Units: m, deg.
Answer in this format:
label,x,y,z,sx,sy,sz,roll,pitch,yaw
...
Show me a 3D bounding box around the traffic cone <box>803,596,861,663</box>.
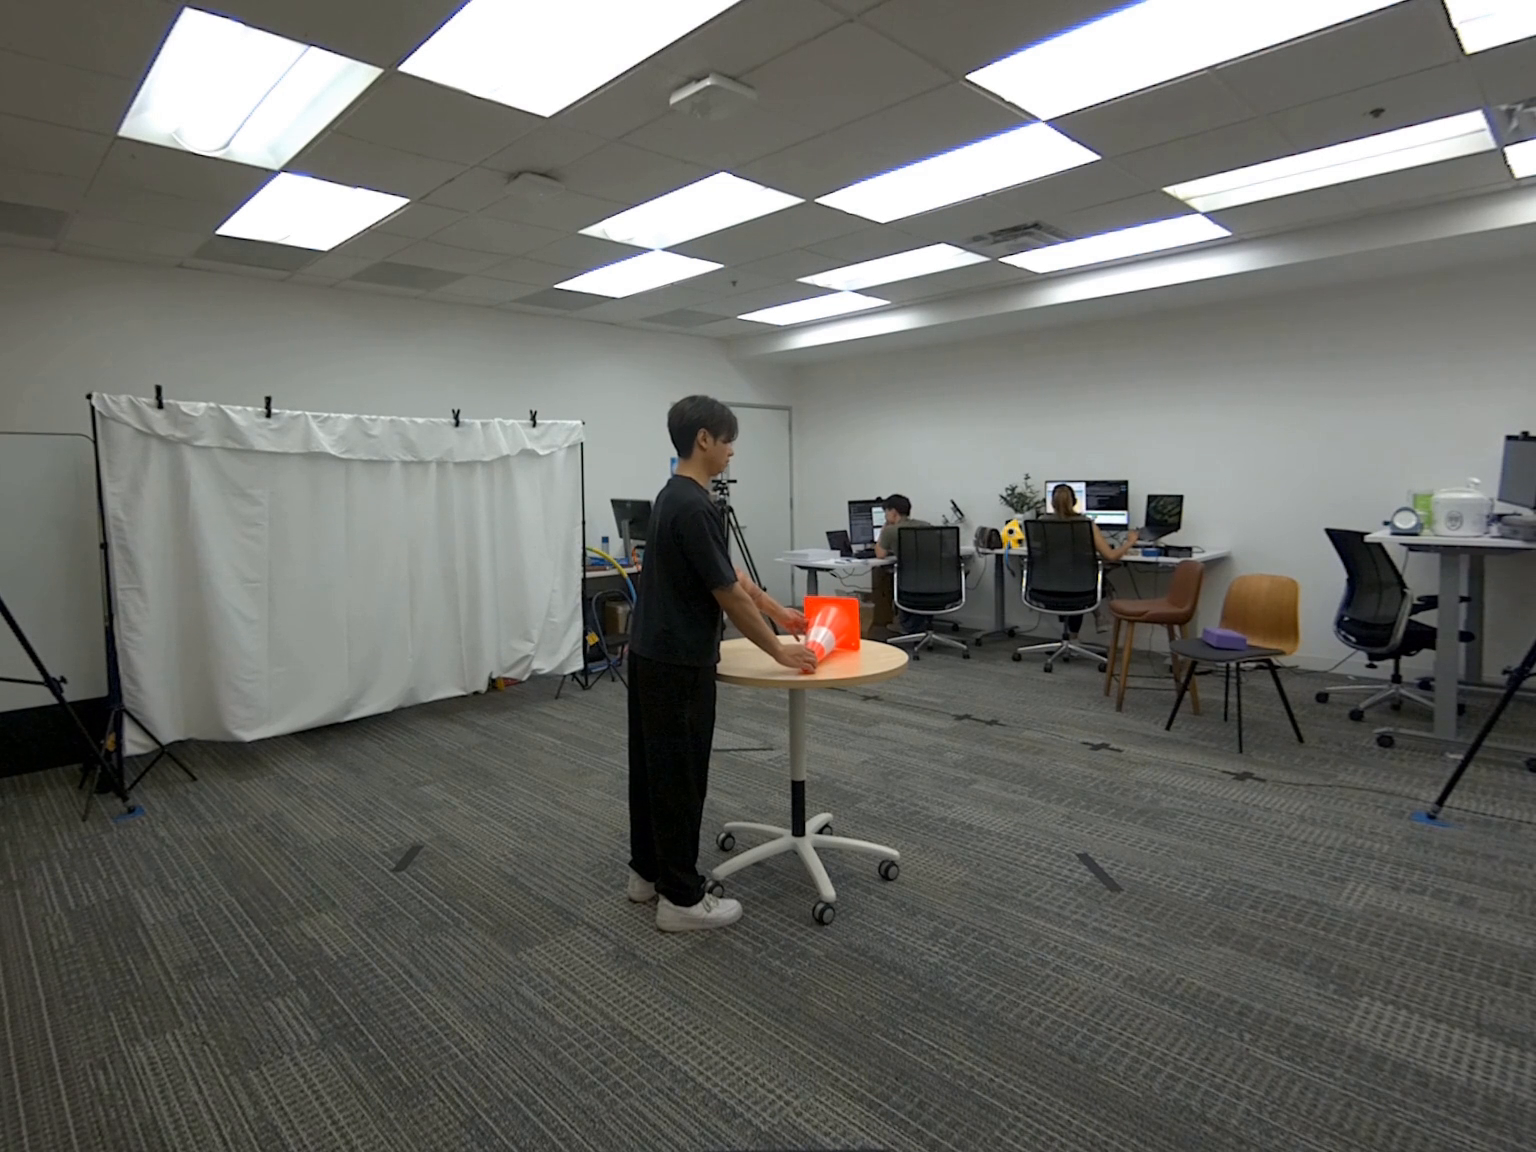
label,x,y,z,sx,sy,sz,roll,pitch,yaw
traffic cone,0.188,0.226,2.864,0.208,0.200,0.383,4,18,16
